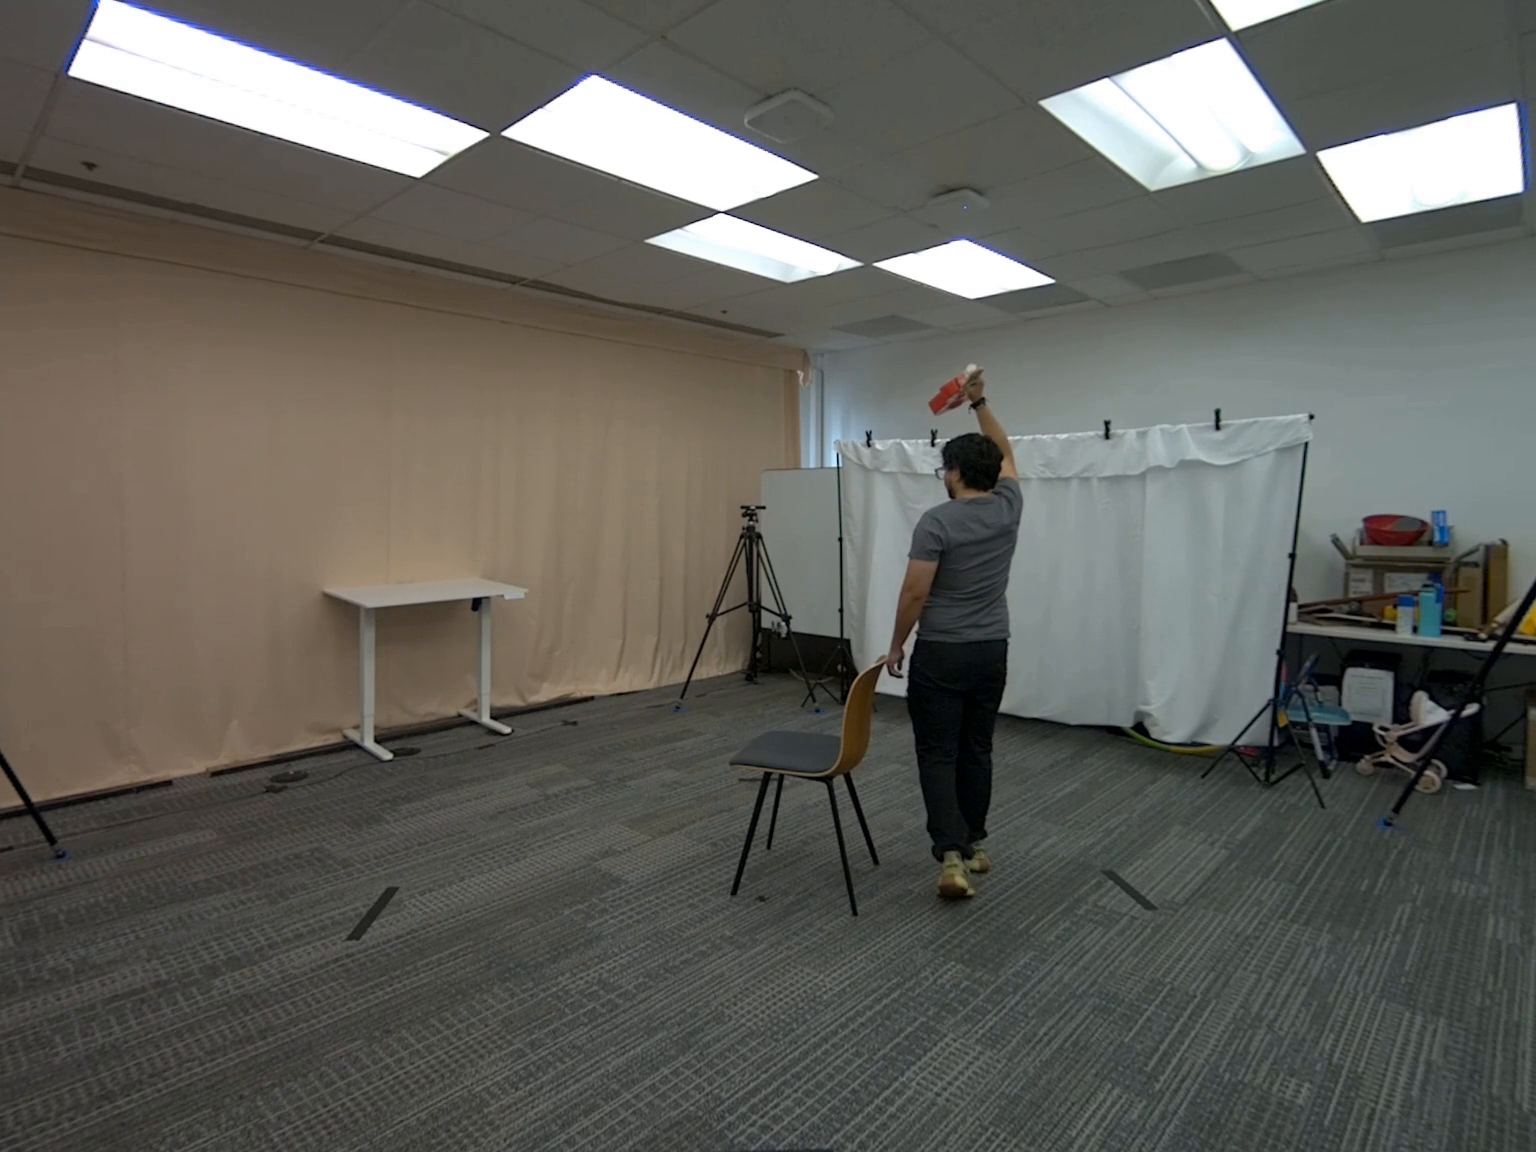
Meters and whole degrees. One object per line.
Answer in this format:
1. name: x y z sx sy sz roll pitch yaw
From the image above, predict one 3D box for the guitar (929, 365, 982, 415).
1. guitar: 0.799 -0.765 3.349 0.192 0.071 0.497 -23 -5 -10
